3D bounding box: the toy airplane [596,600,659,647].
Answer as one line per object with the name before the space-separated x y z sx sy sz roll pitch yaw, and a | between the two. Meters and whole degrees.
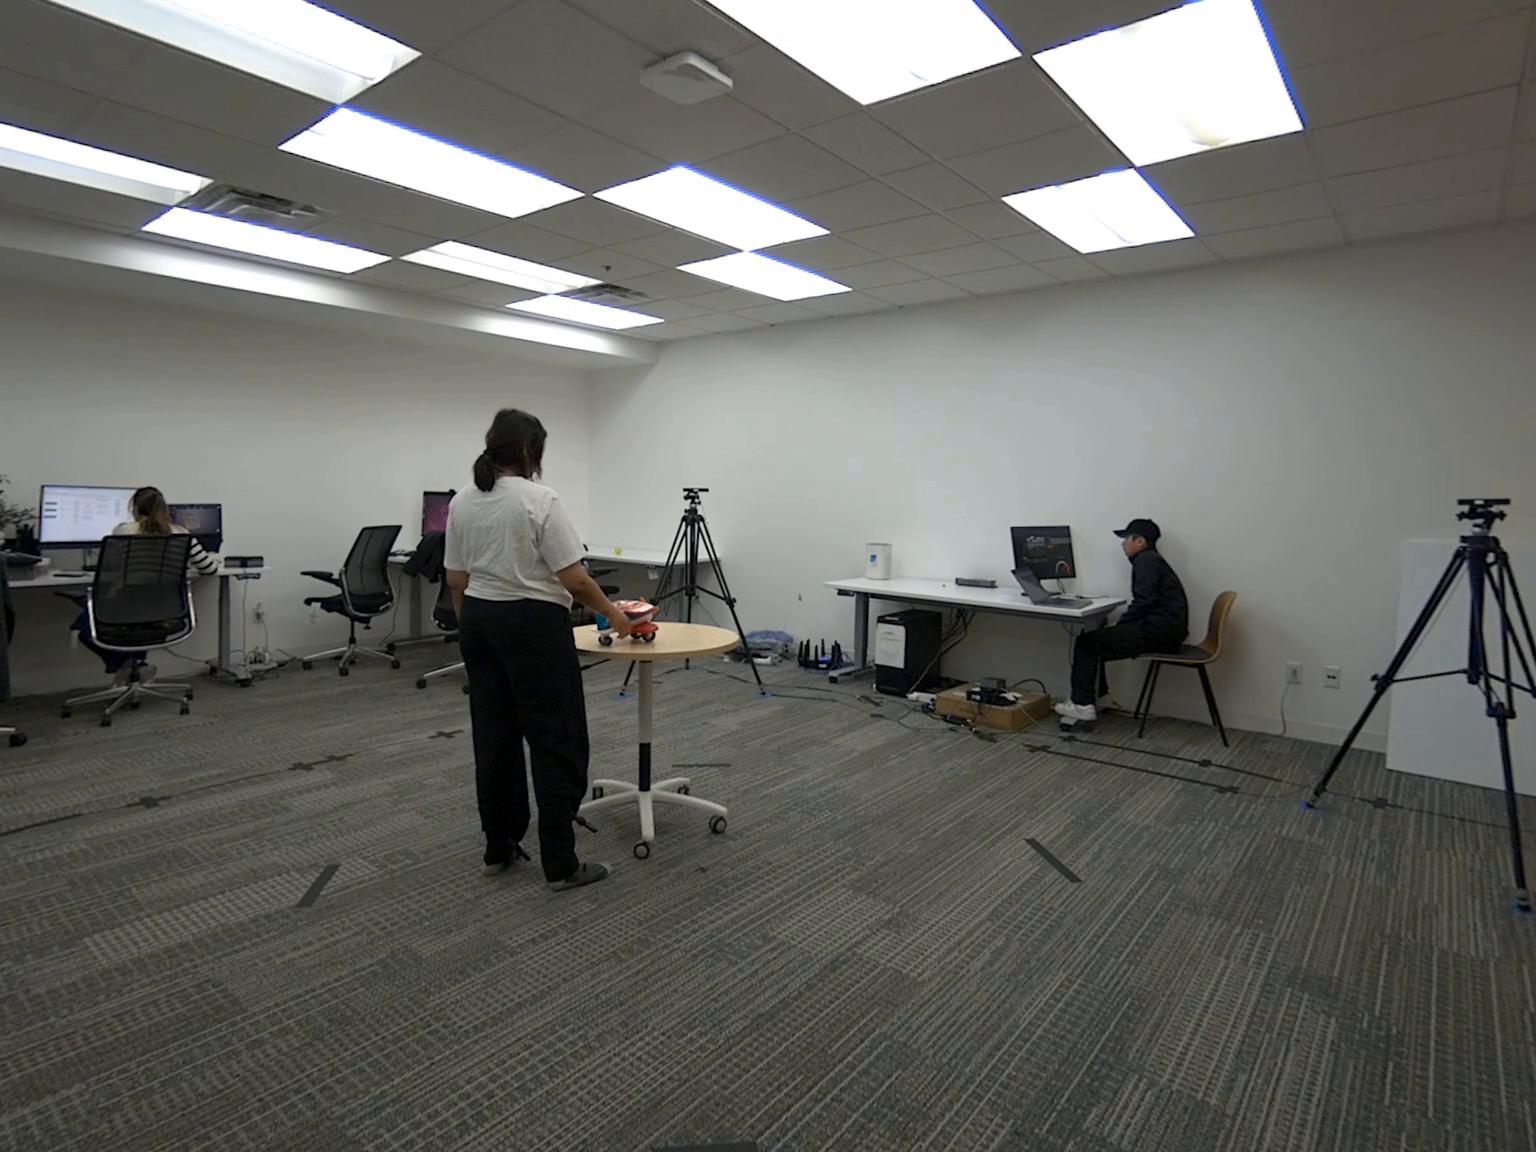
toy airplane | -0.557 0.183 3.327 0.256 0.156 0.255 2 5 19
